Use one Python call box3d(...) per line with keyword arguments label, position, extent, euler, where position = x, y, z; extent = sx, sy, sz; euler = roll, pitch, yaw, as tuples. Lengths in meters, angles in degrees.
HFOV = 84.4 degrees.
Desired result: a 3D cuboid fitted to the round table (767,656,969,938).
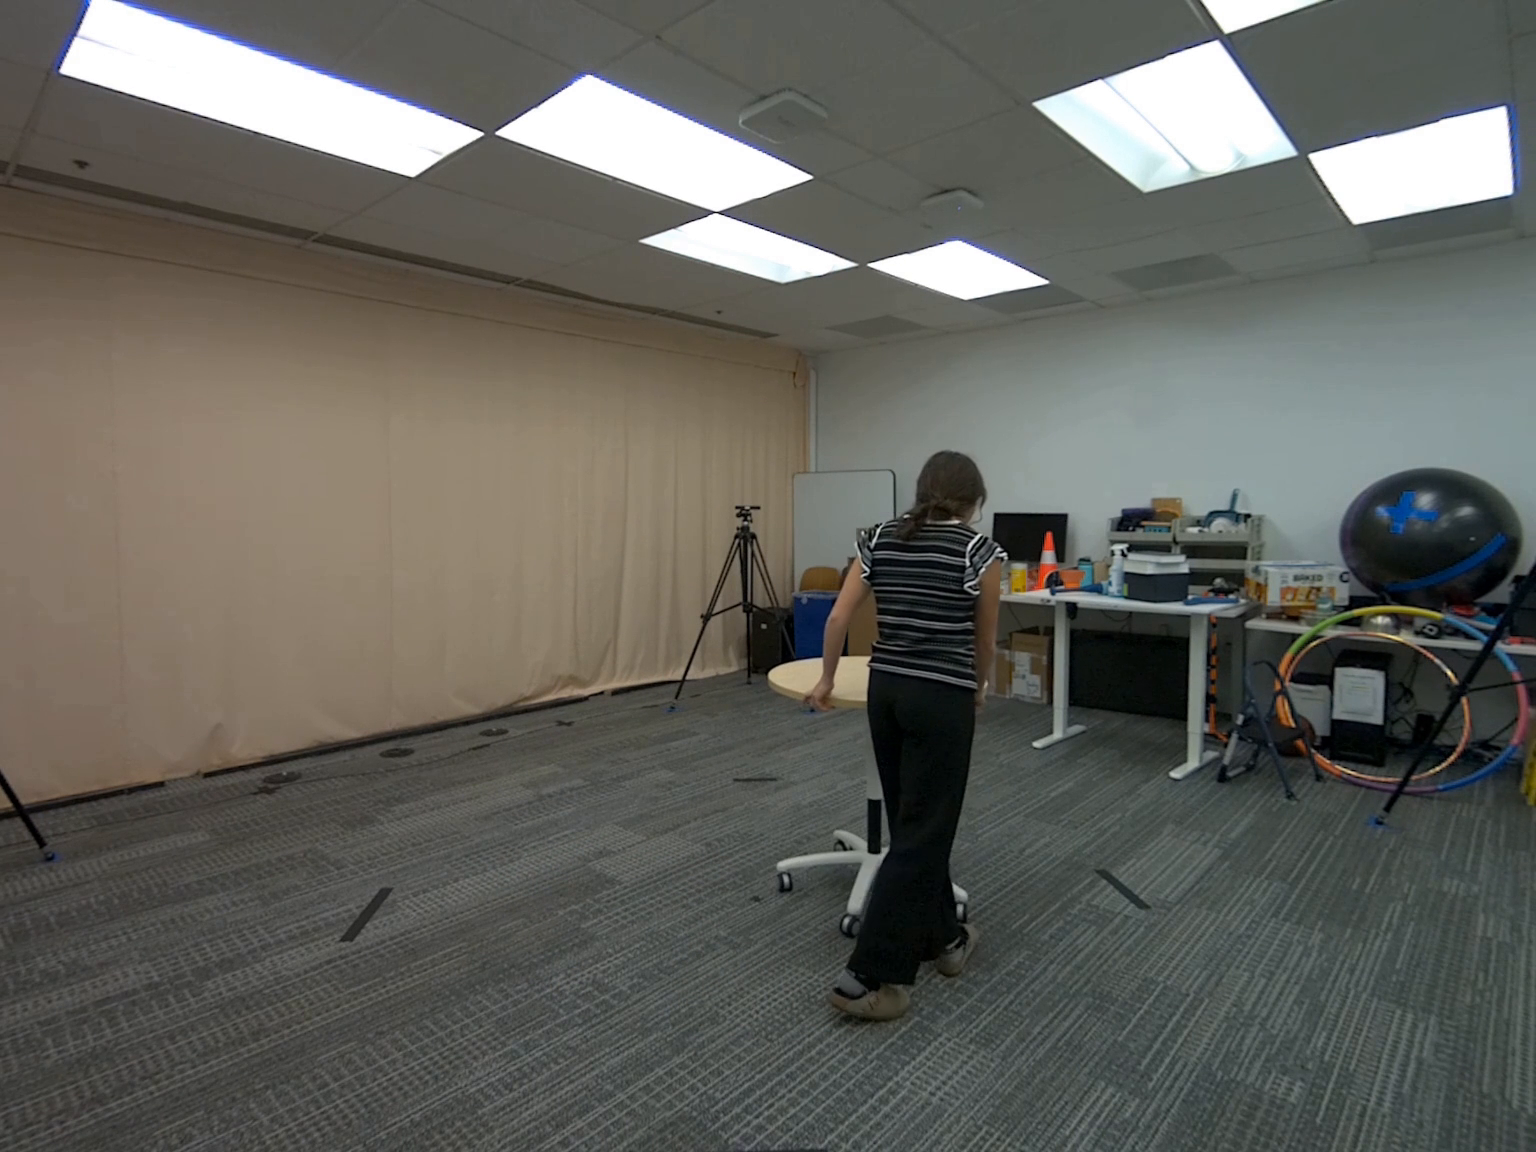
box3d(label="round table", position=(0.385, 0.751, 3.027), extent=(0.763, 0.792, 0.767), euler=(0, 4, -2))
